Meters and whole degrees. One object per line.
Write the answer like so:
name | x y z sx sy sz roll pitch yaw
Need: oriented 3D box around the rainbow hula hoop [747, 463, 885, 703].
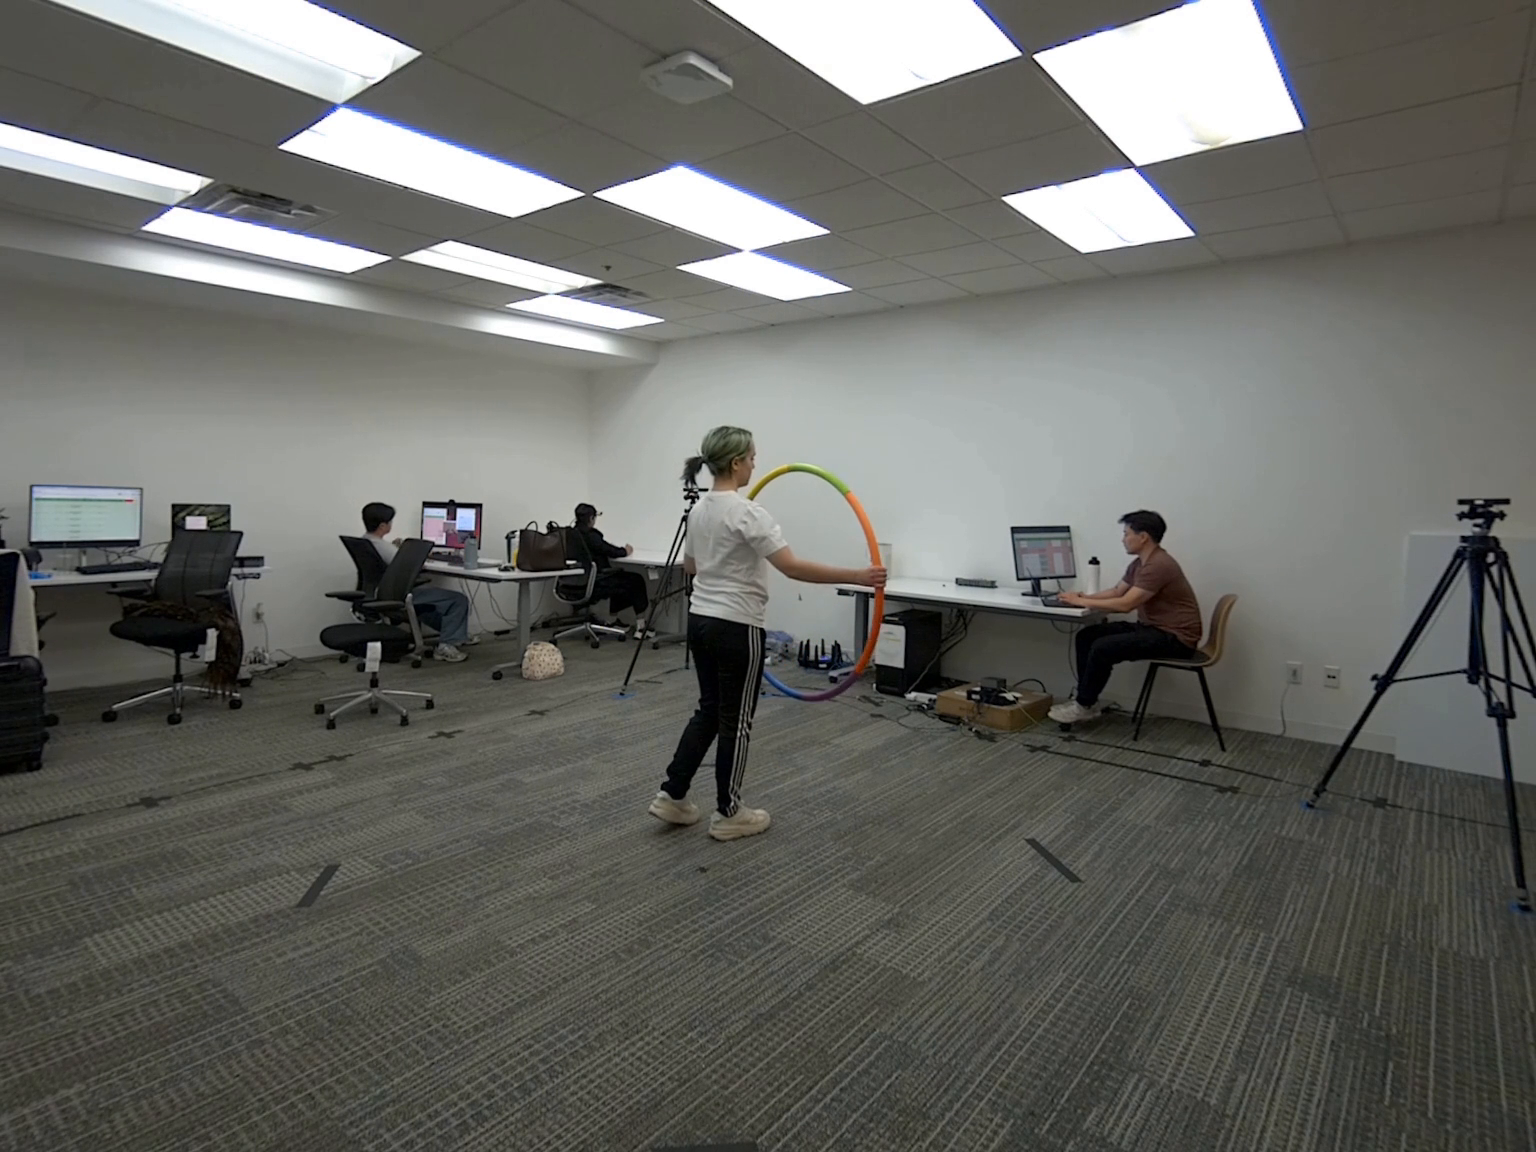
rainbow hula hoop | 0.103 0.024 3.547 0.034 0.975 1.011 -2 5 -36
